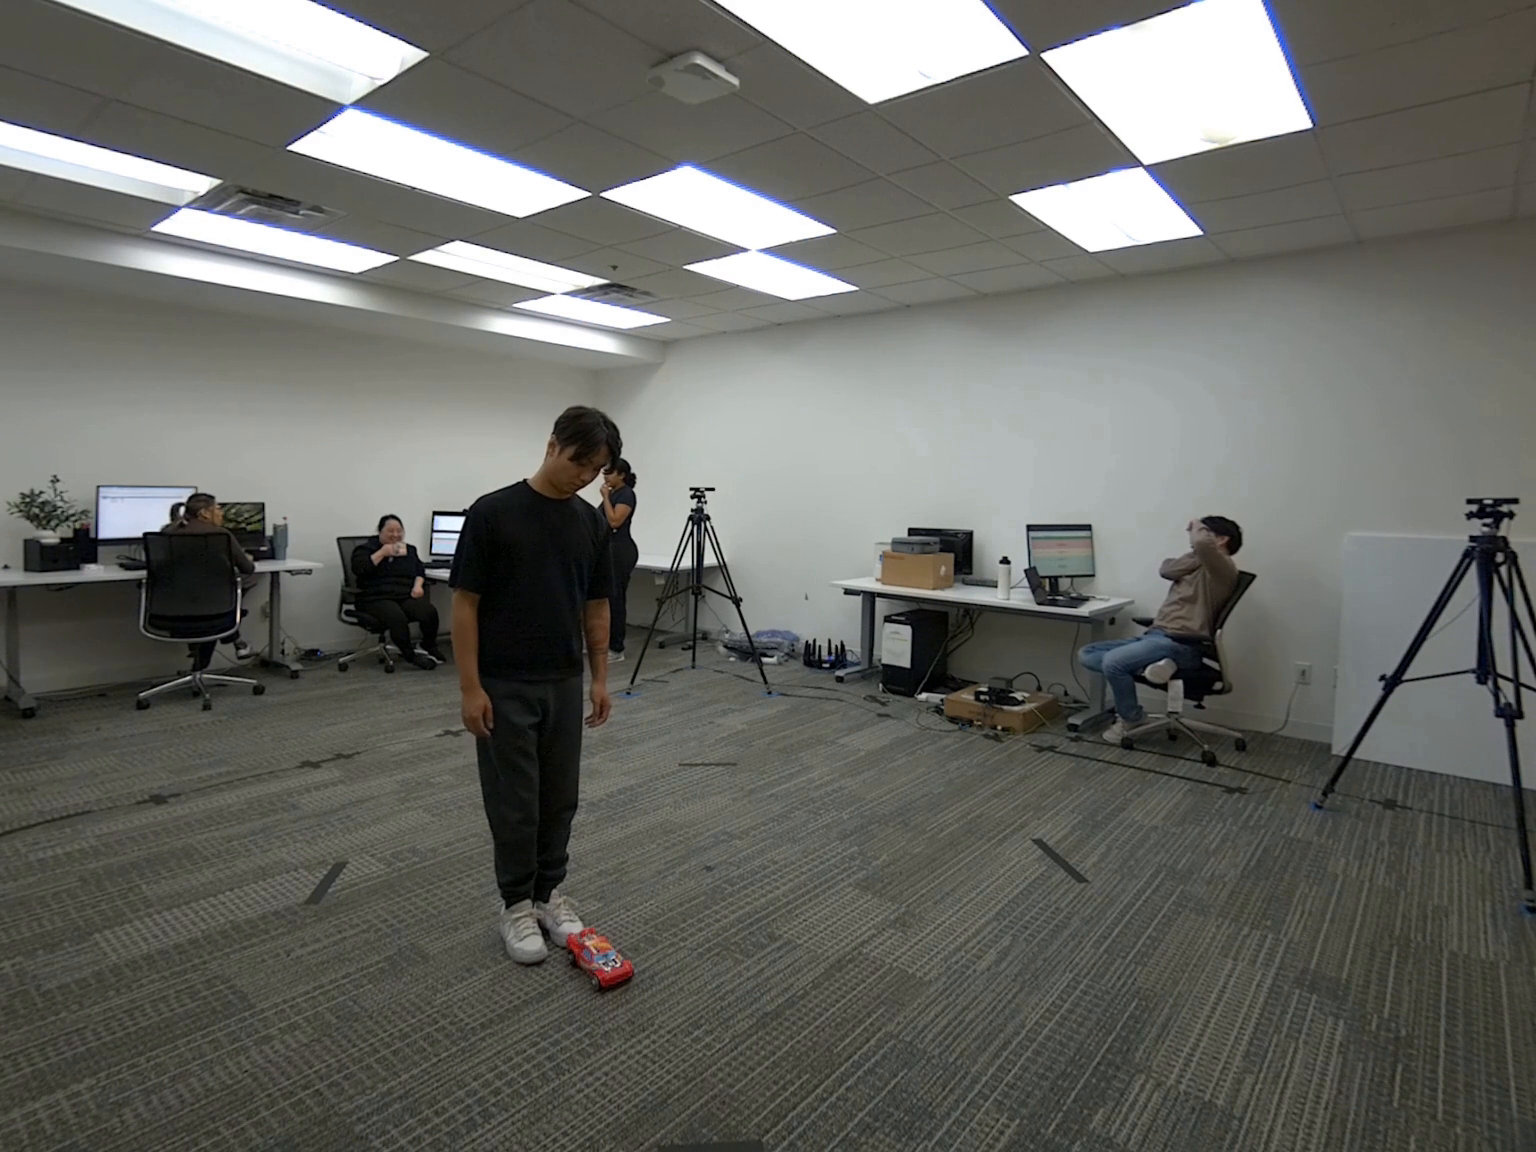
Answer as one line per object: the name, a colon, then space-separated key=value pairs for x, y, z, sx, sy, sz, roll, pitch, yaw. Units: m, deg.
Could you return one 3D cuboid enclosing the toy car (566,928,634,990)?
toy car: x=-0.503 y=1.097 z=2.444 sx=0.126 sy=0.082 sz=0.265 roll=-3 pitch=17 yaw=-37
